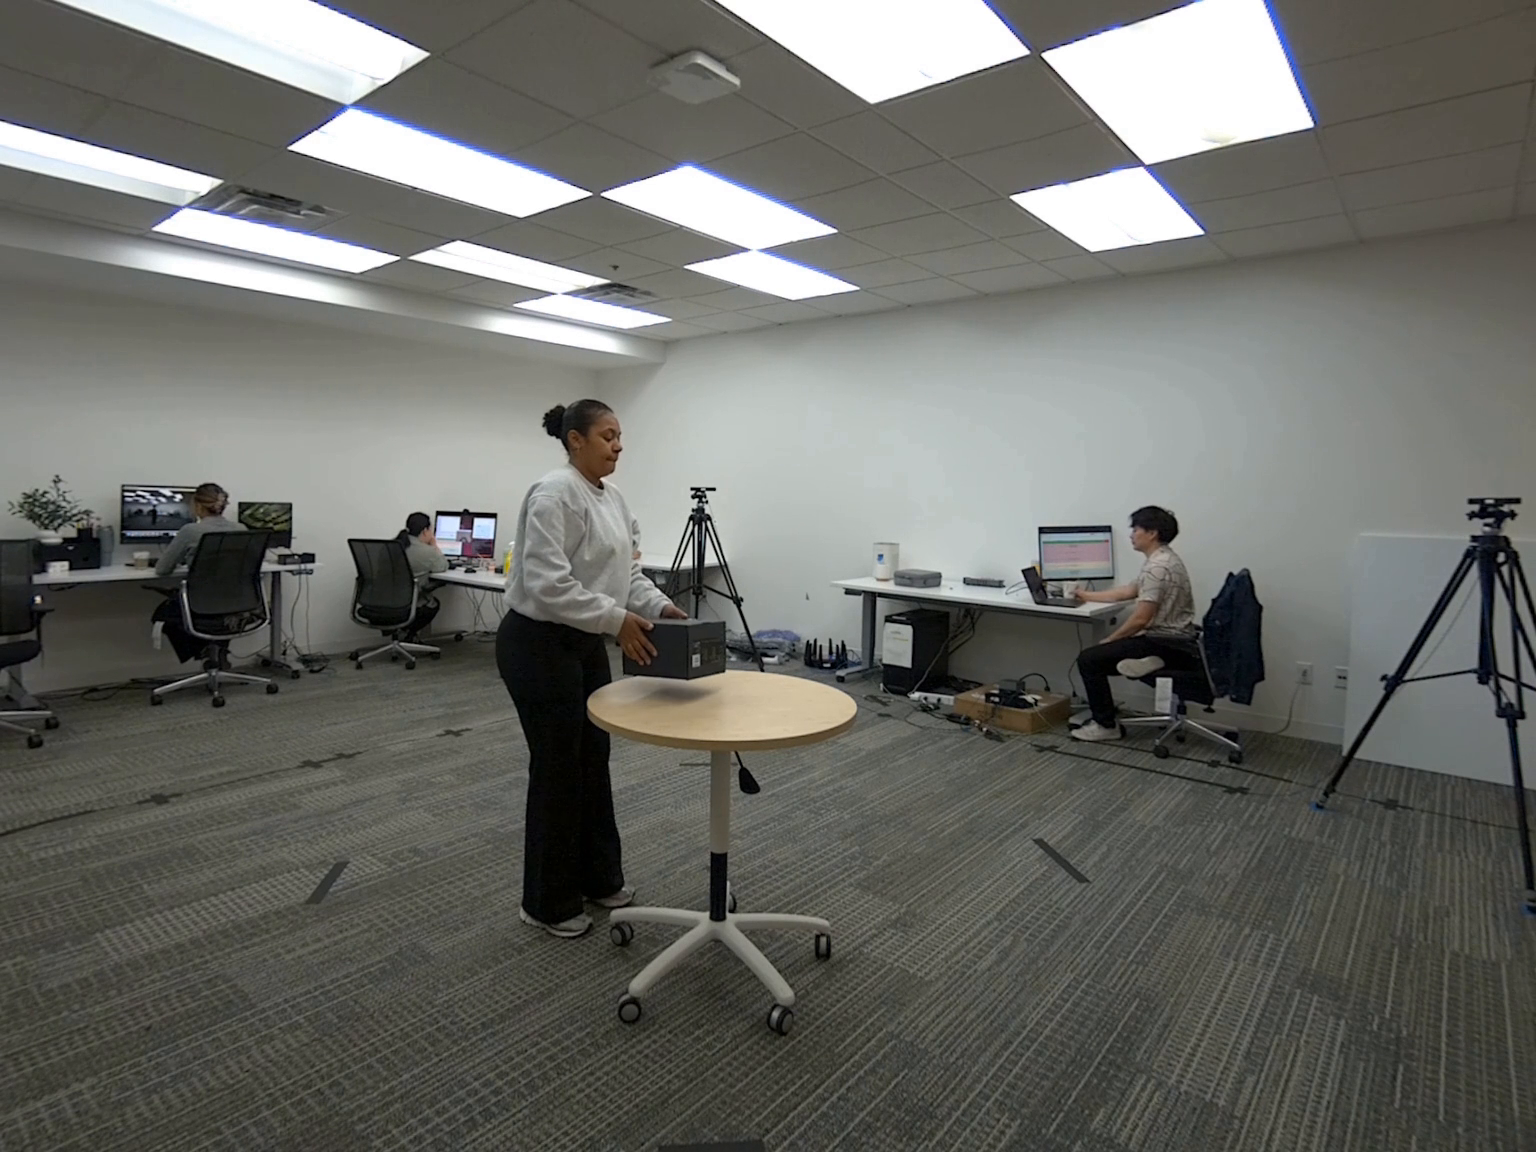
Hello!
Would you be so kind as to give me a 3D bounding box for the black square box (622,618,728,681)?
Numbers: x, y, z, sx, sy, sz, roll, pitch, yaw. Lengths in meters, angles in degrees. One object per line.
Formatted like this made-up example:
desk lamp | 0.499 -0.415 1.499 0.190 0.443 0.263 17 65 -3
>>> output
black square box | -0.280 0.207 2.513 0.234 0.156 0.211 0 0 29
